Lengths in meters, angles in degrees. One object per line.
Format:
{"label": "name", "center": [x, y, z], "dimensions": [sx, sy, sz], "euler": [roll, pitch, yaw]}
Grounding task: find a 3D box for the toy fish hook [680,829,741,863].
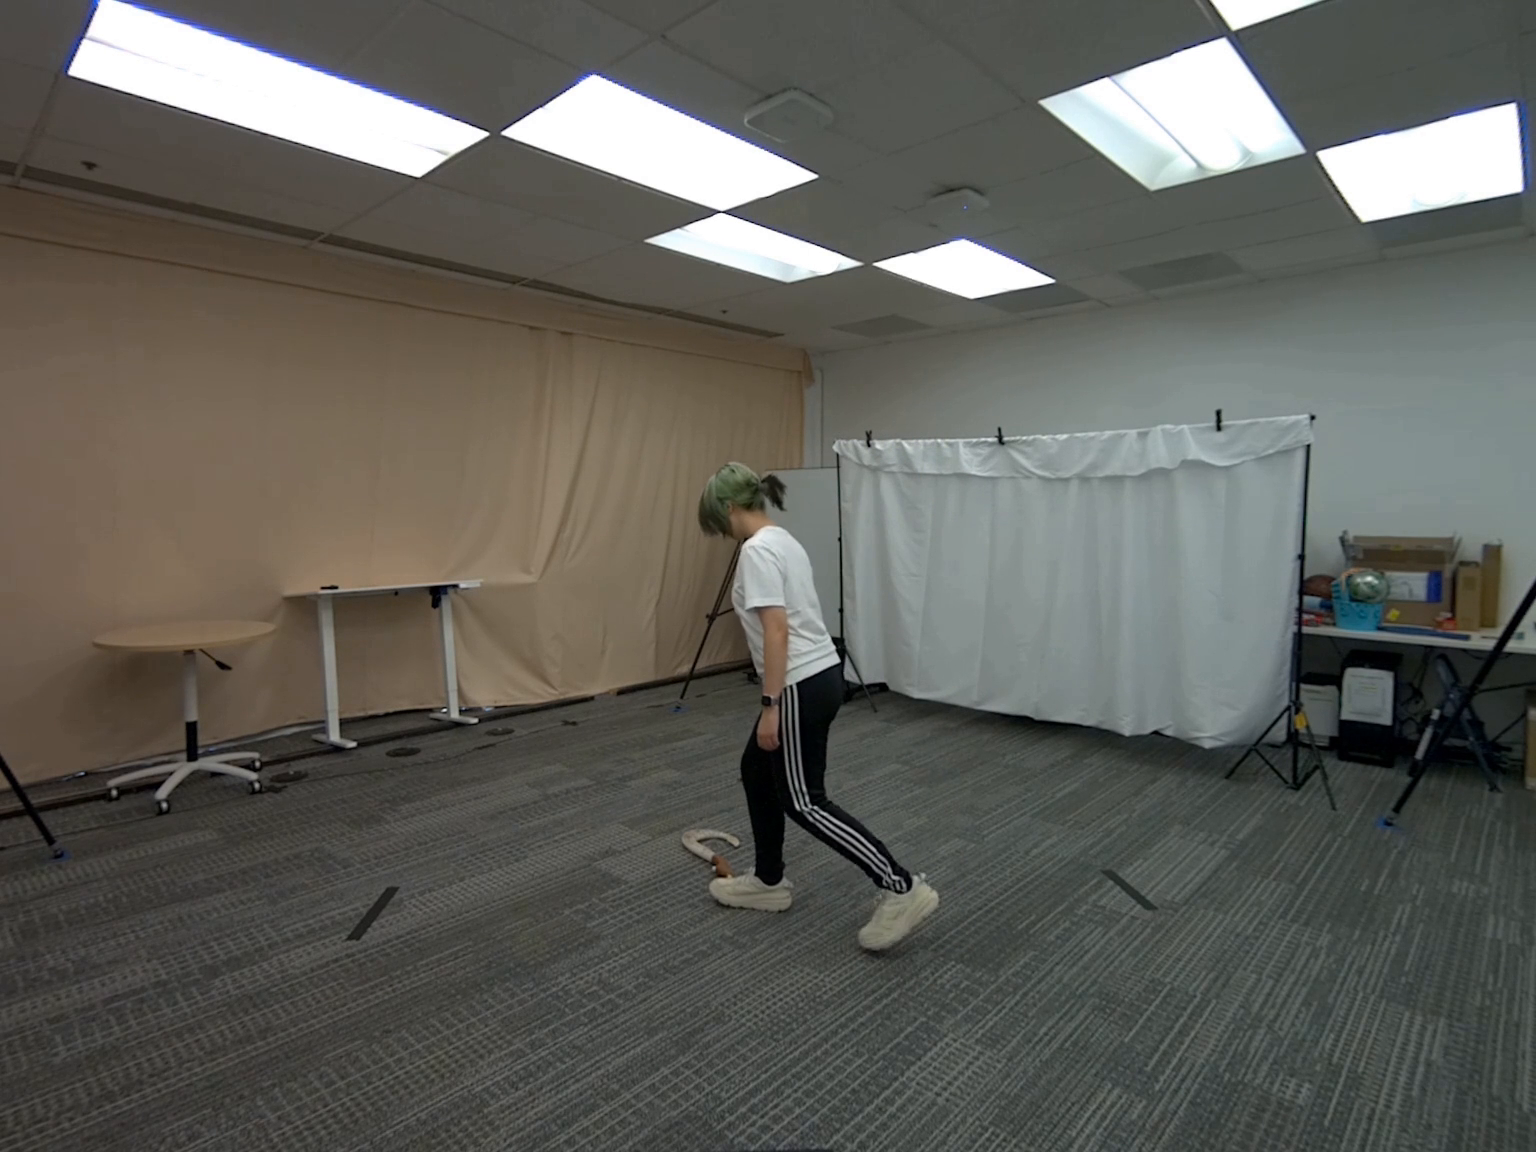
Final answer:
{"label": "toy fish hook", "center": [-0.178, 1.092, 3.325], "dimensions": [0.220, 0.048, 0.519], "euler": [-4, 6, -23]}
